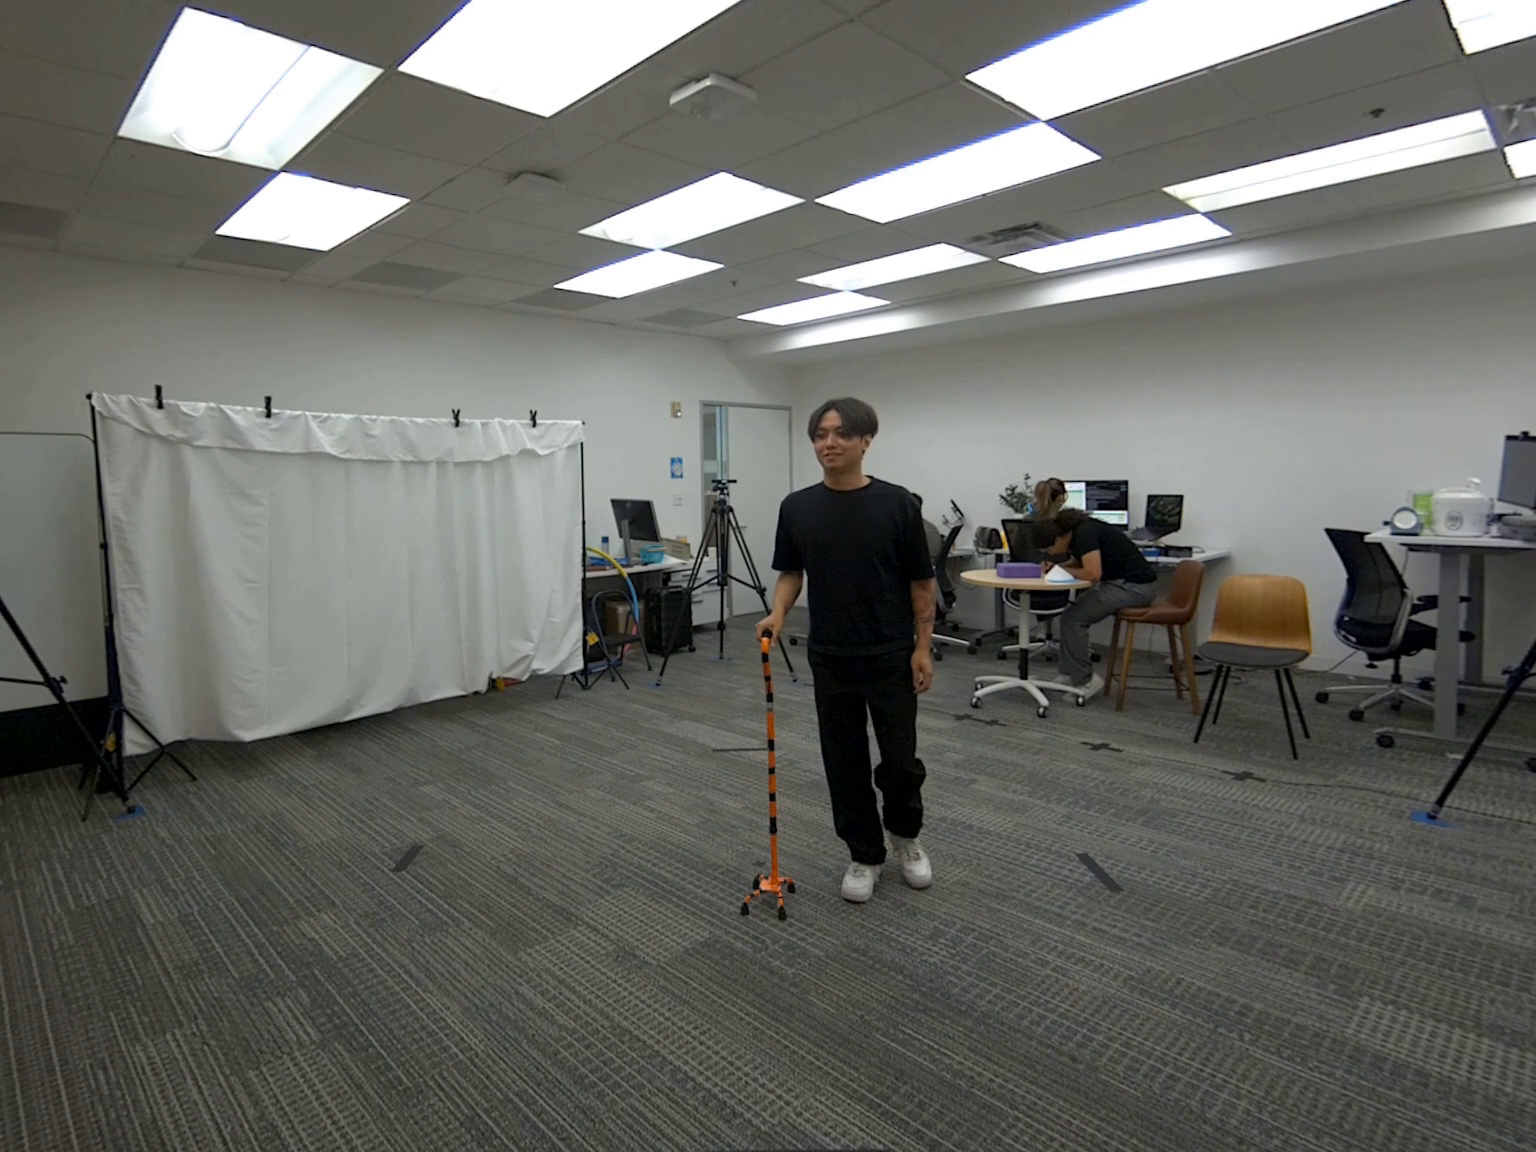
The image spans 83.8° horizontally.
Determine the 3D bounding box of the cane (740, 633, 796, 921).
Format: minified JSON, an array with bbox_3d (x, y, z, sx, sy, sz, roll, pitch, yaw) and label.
[{"bbox_3d":[-0.005,0.634,2.785,0.153,0.903,0.205,0,6,11],"label":"cane"}]
